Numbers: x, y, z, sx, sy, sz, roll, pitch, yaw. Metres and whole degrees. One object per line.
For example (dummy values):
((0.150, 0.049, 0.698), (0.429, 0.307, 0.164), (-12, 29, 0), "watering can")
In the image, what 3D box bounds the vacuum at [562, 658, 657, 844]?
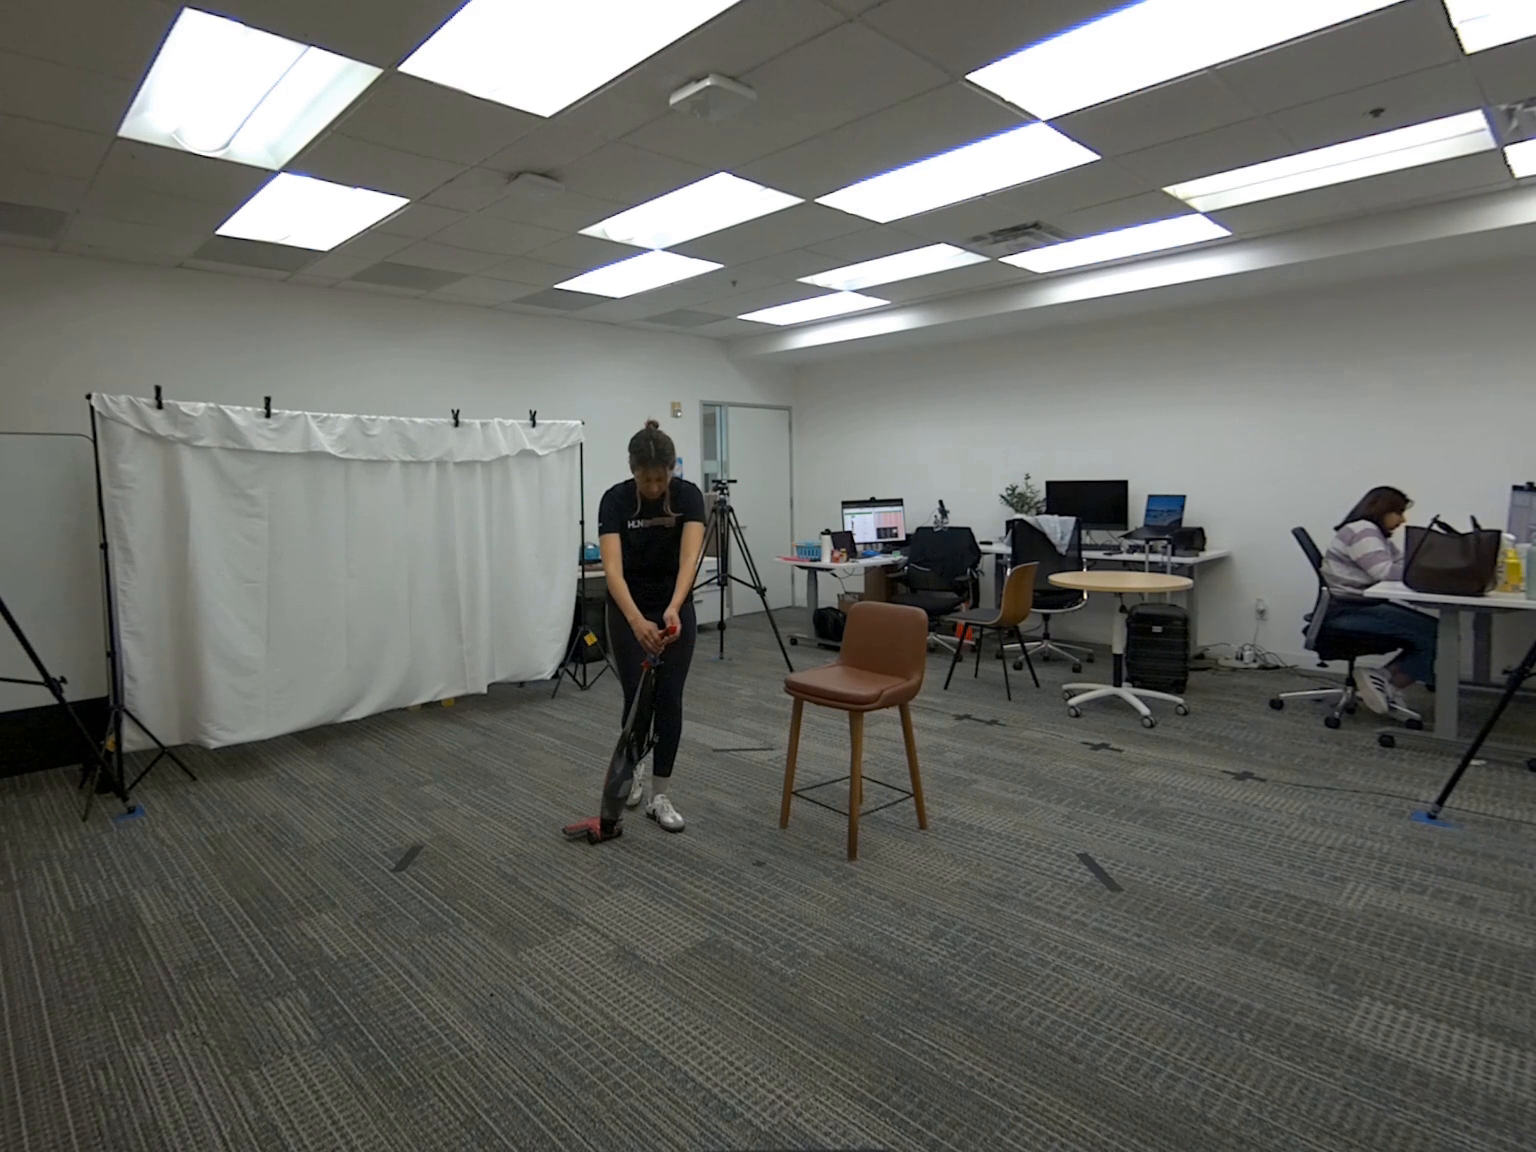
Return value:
((-0.500, 0.607, 3.142), (0.246, 1.037, 0.149), (-3, 39, -40), "vacuum")
